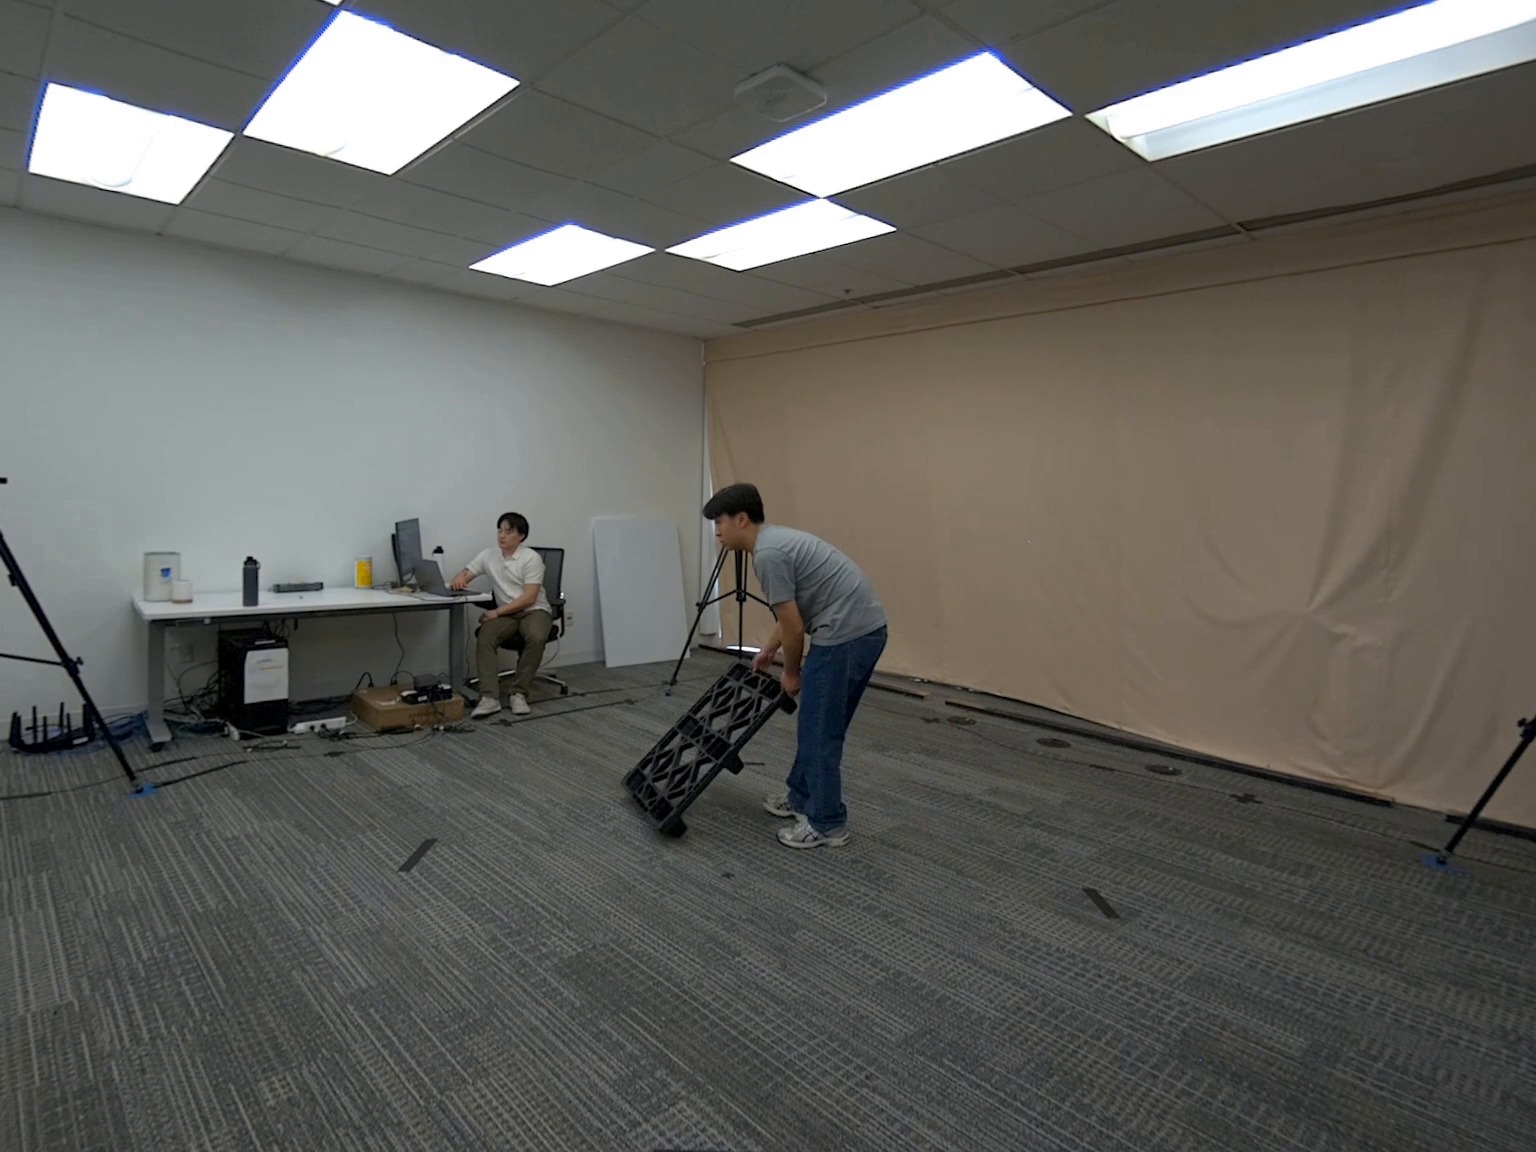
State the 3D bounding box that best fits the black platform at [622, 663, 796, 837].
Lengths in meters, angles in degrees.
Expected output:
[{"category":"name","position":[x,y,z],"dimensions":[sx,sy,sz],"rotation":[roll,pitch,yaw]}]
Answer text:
[{"category":"black platform","position":[-0.252,0.742,3.721],"dimensions":[0.805,0.140,0.618],"rotation":[-46,22,-14]}]
